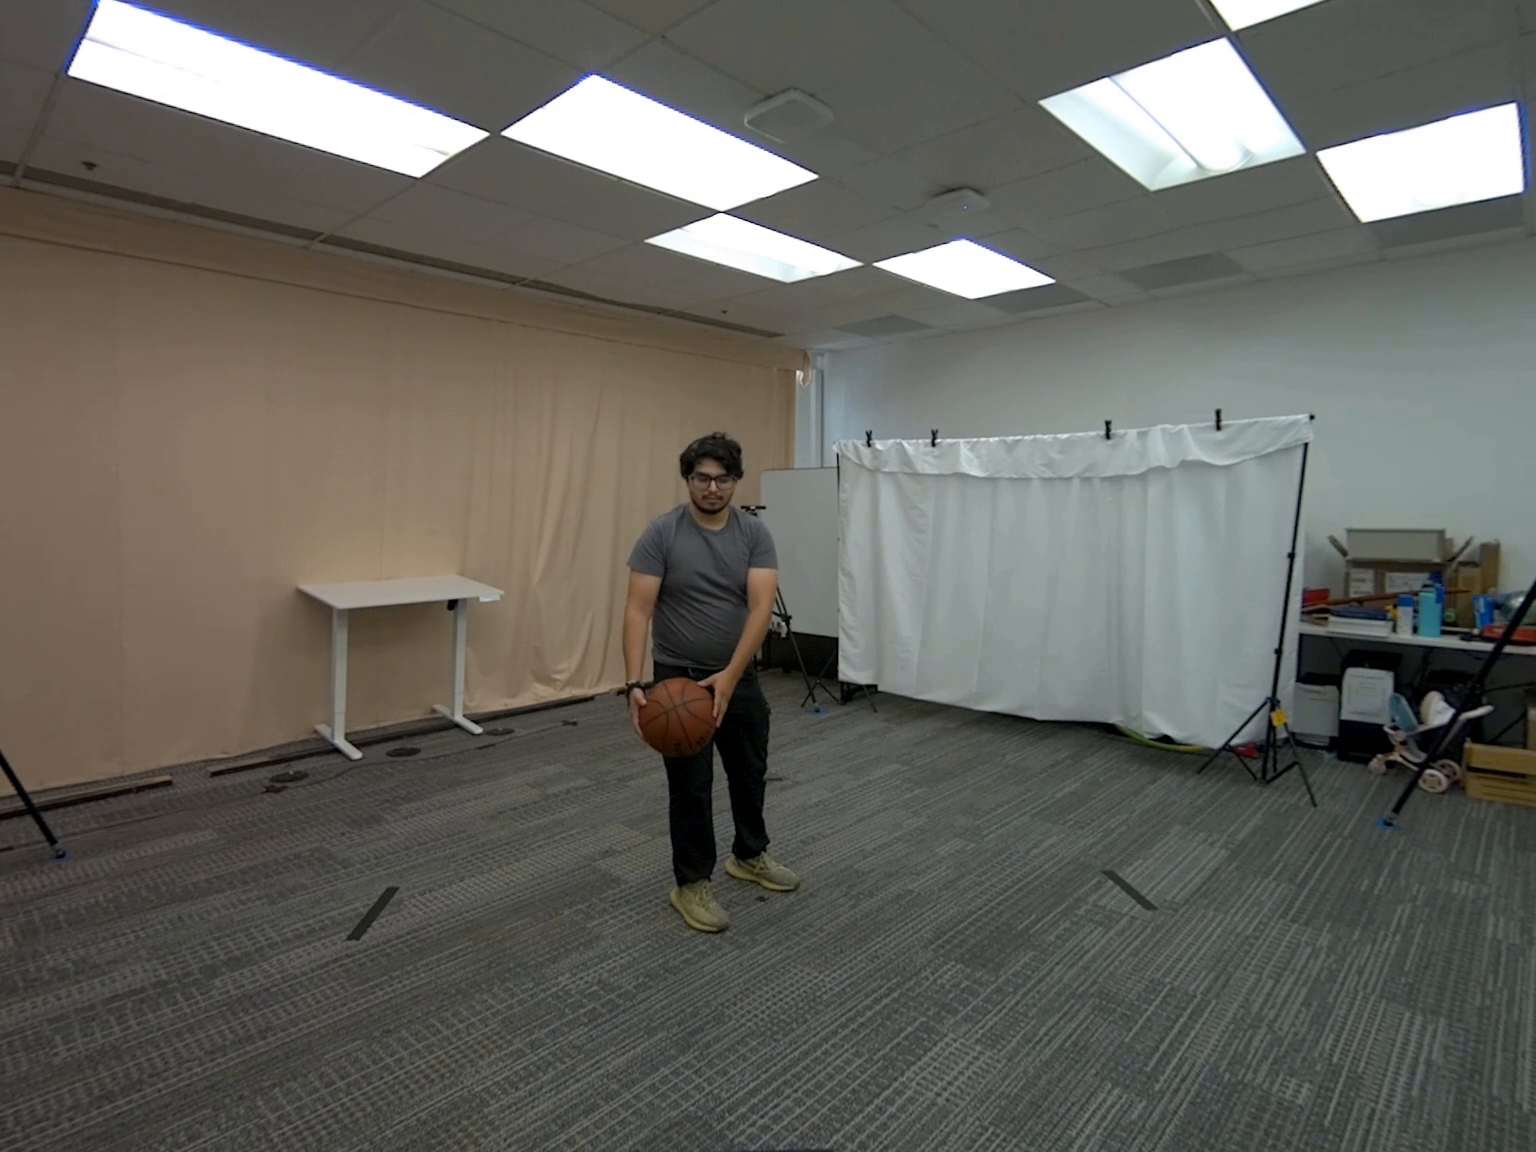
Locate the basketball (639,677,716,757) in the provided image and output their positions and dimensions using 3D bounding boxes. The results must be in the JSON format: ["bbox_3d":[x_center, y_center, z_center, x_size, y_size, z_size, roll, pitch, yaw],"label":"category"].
[{"bbox_3d":[-0.268,0.424,2.566,0.236,0.235,0.237,0,4,-2],"label":"basketball"}]
